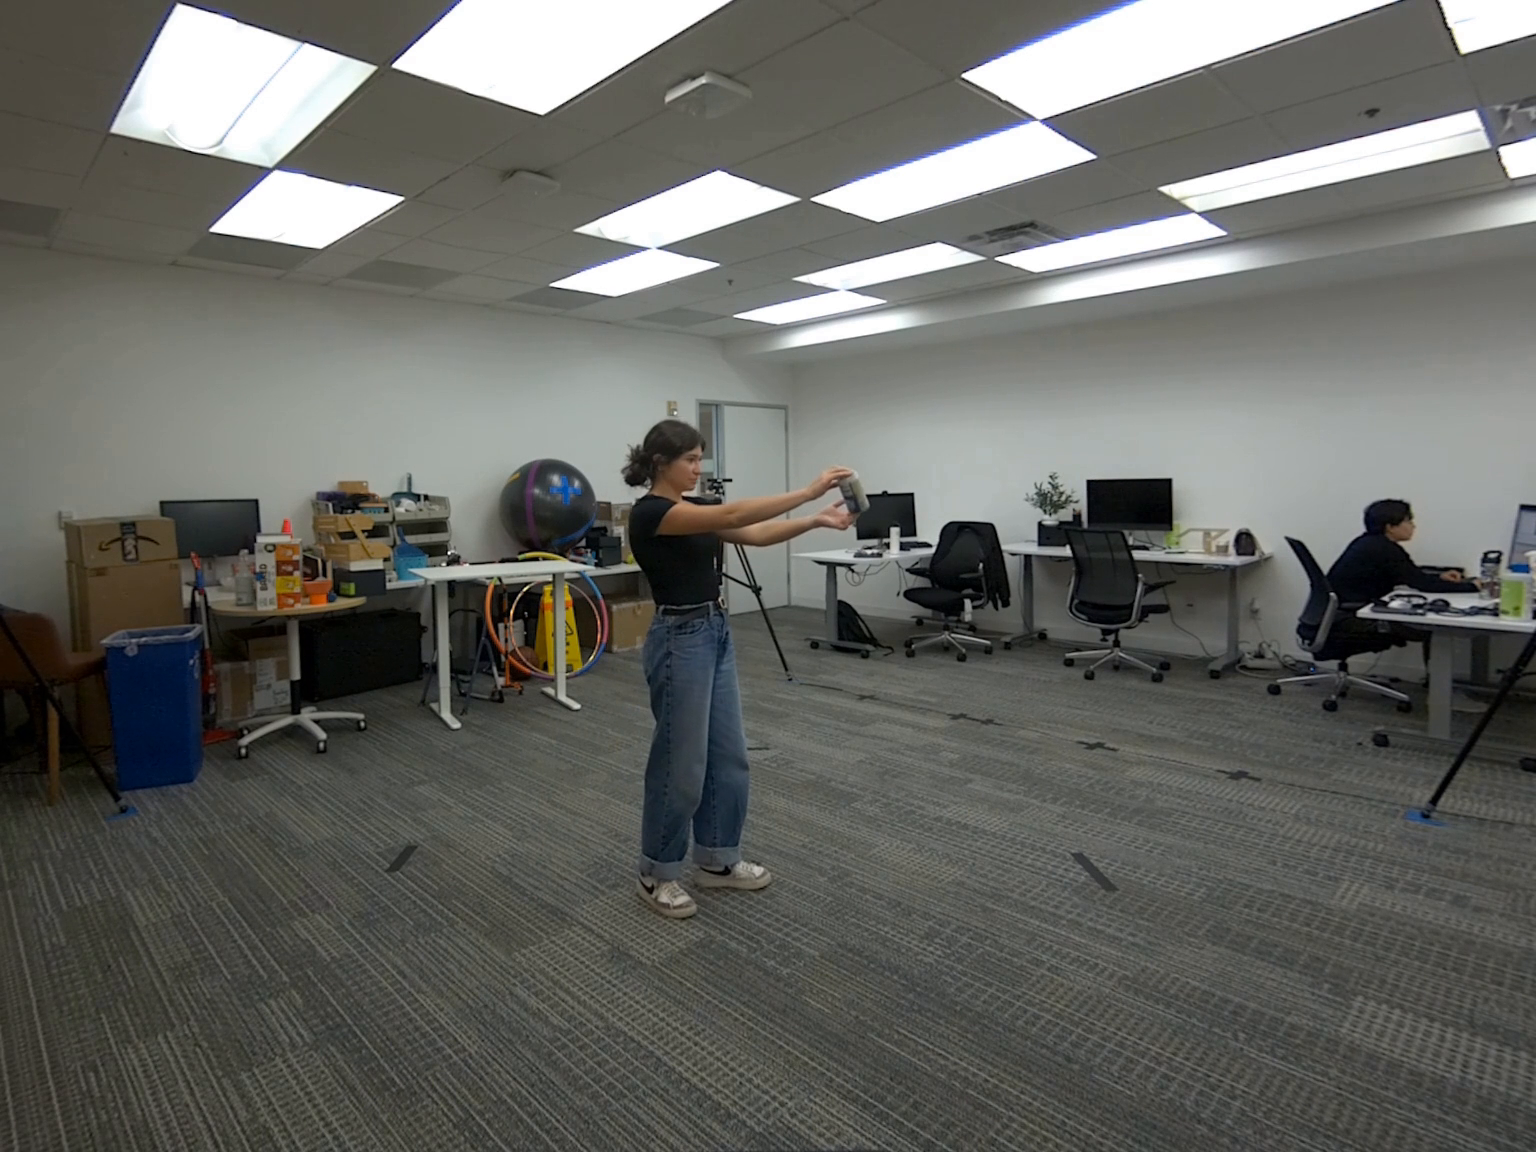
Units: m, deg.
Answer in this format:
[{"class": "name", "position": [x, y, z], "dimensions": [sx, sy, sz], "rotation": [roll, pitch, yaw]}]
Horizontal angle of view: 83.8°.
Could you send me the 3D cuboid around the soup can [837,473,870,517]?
[{"class": "soup can", "position": [0.257, -0.257, 2.603], "dimensions": [0.067, 0.119, 0.068], "rotation": [-18, 19, 5]}]
